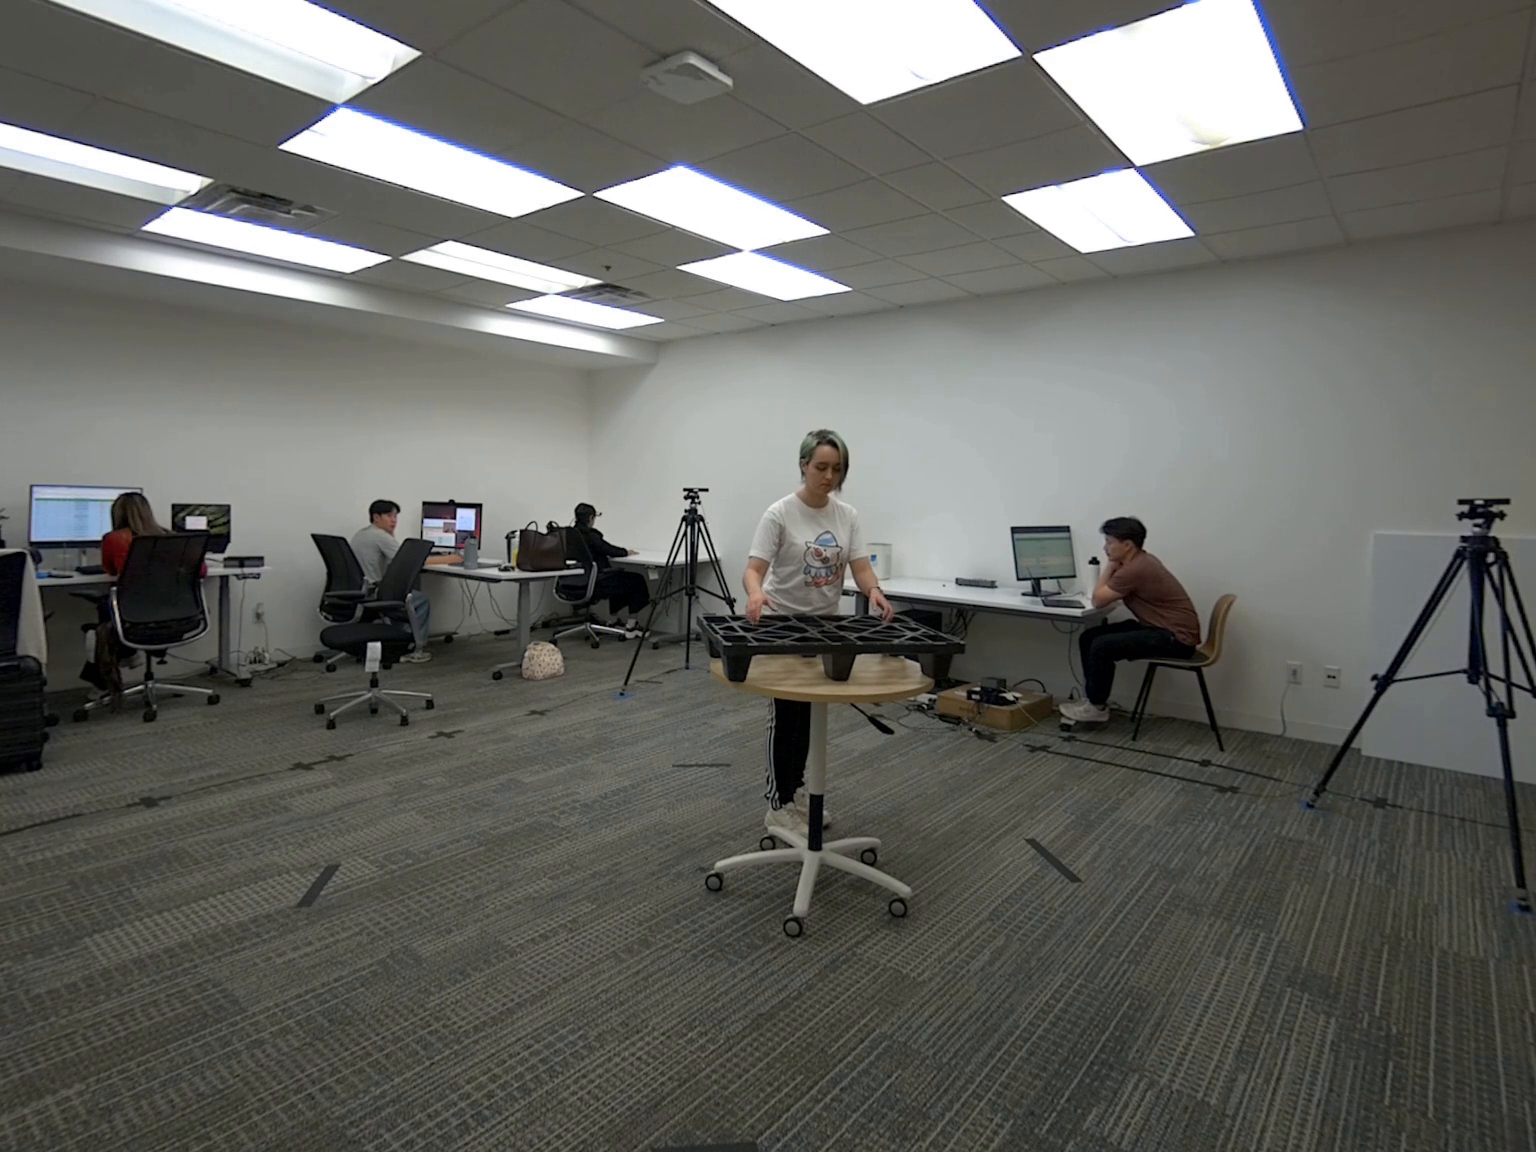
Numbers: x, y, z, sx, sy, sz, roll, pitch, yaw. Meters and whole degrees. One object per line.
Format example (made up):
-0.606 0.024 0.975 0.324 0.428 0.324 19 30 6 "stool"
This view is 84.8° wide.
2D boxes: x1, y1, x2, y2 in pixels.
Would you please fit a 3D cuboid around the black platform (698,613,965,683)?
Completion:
0.181 0.242 2.958 0.797 0.143 0.614 0 6 -10 "black platform"
